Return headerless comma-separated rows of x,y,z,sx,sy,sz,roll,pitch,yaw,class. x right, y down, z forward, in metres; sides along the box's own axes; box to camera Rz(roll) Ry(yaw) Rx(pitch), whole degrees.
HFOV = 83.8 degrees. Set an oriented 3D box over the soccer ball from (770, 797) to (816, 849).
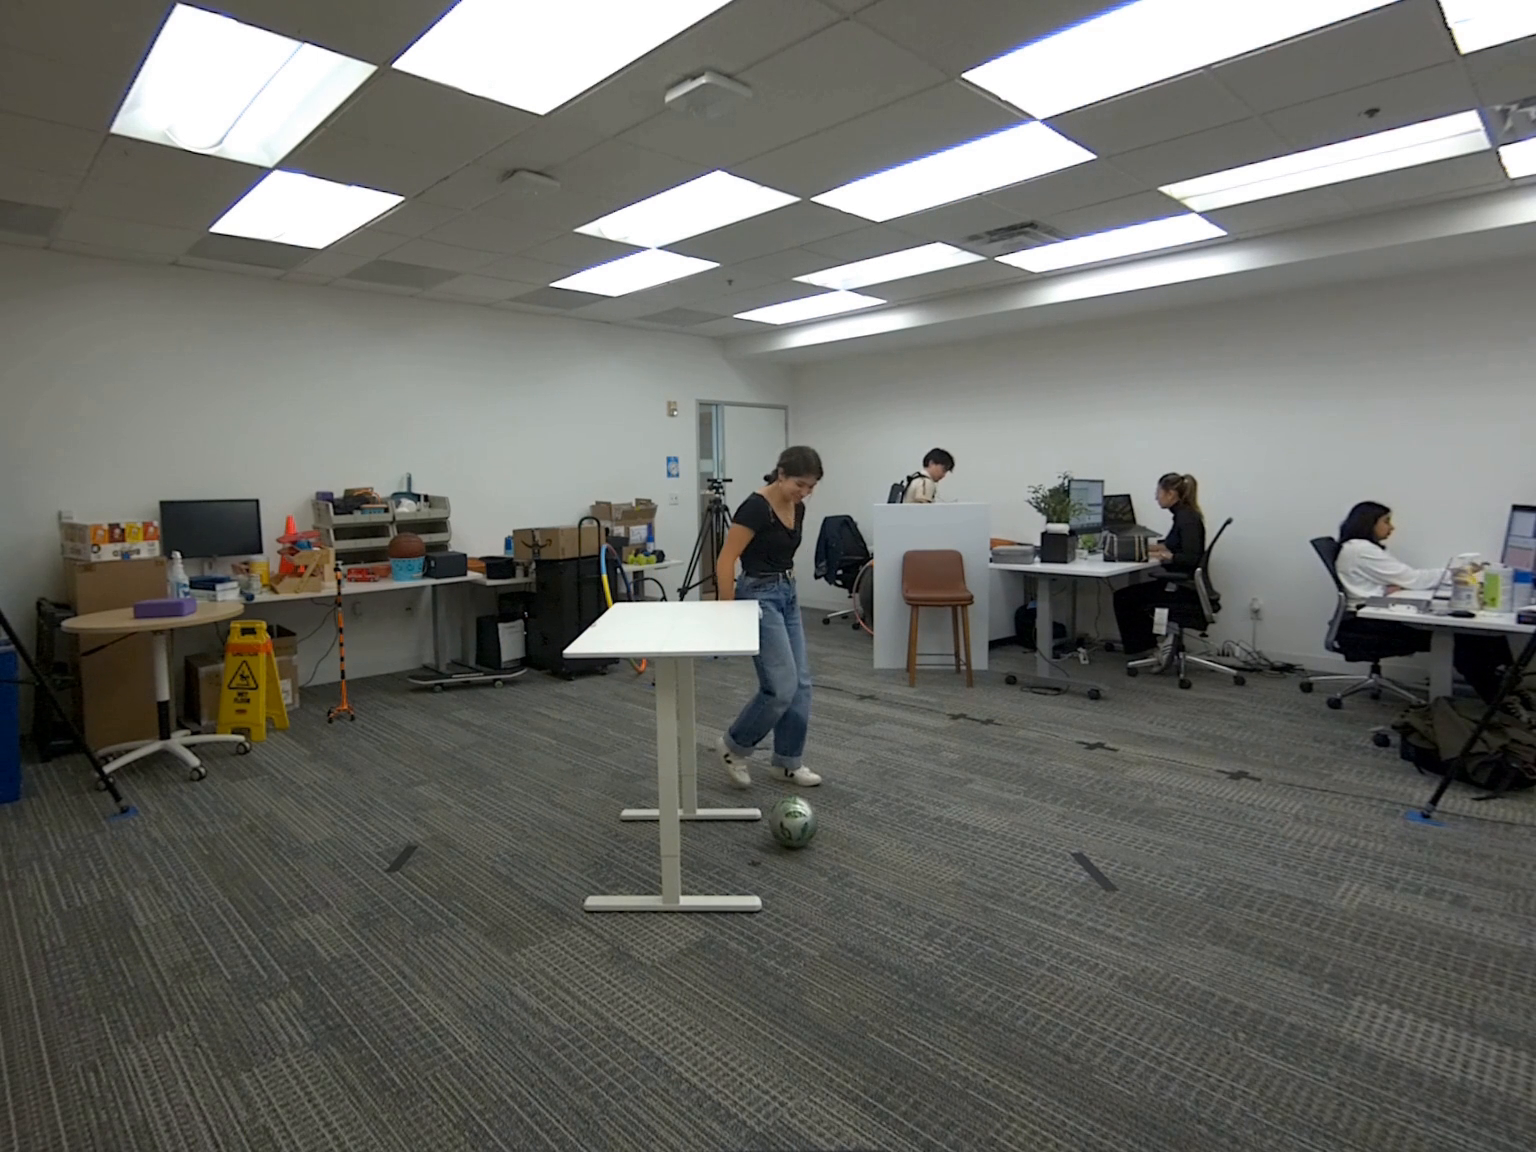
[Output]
0.095,0.940,3.254,0.187,0.187,0.188,-1,5,-2,soccer ball
